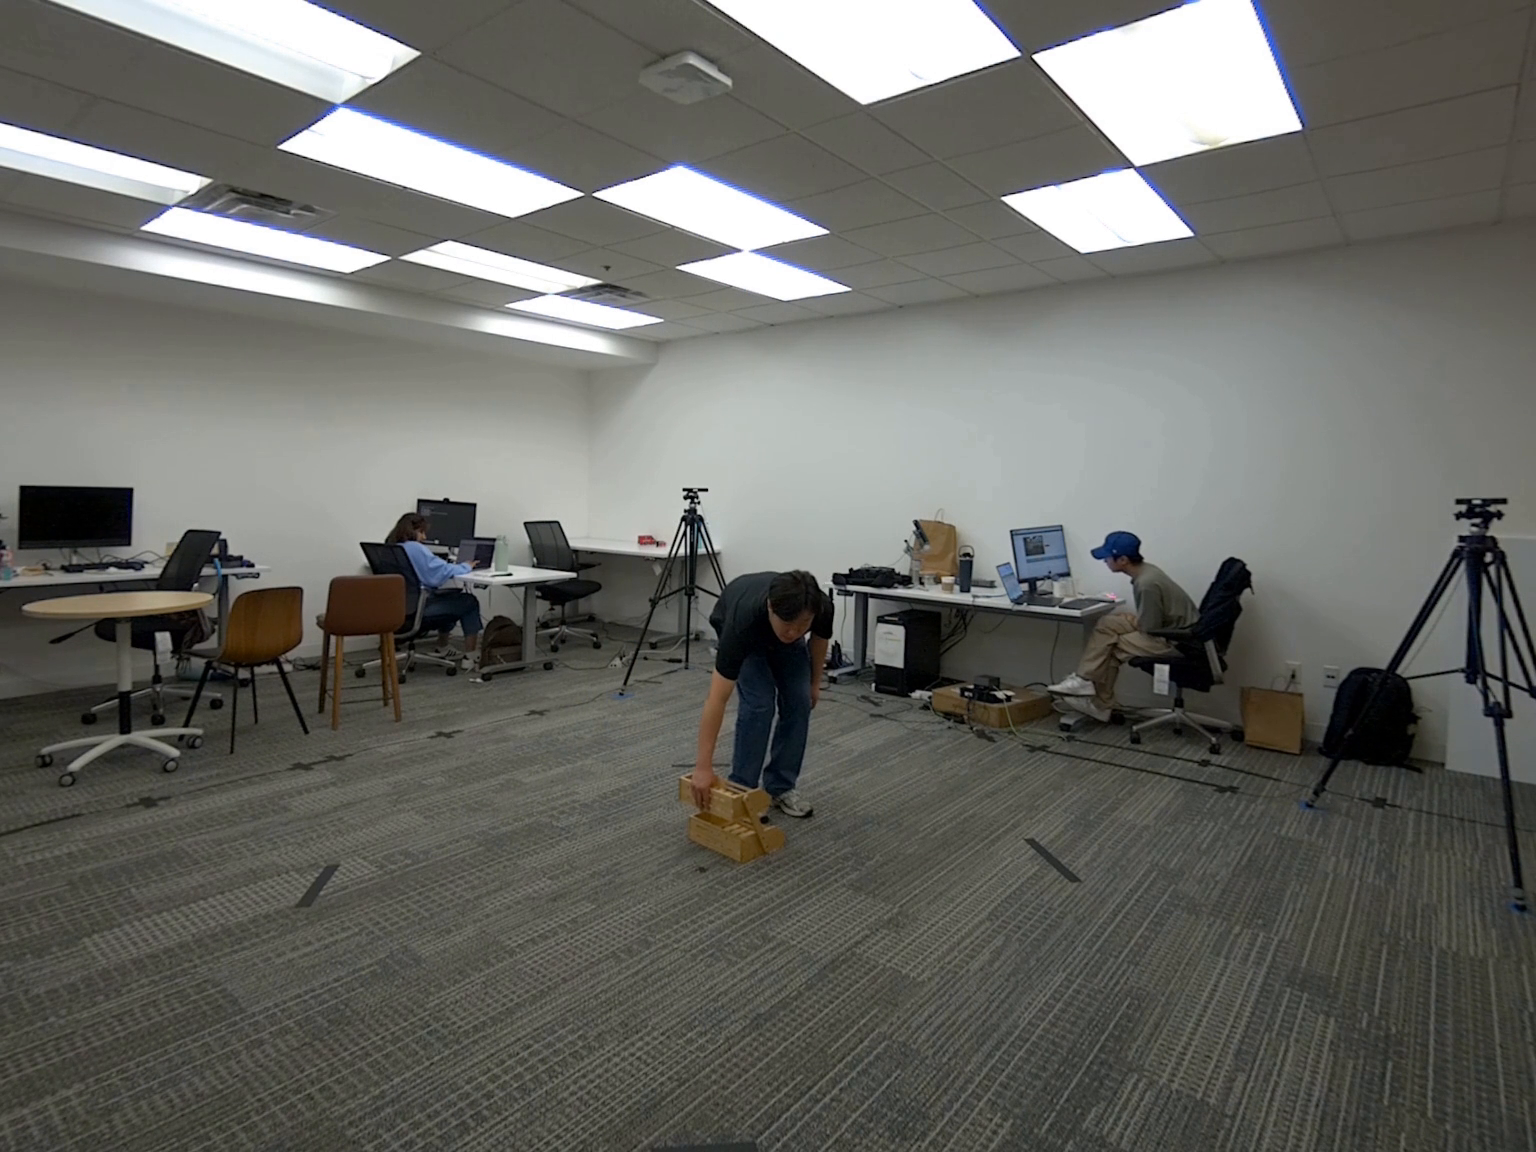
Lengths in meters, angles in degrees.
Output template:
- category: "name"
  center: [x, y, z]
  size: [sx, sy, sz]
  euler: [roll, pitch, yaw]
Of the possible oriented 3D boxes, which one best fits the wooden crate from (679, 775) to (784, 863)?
- category: "wooden crate"
  center: [-0.146, 0.913, 3.337]
  size: [0.336, 0.272, 0.293]
  euler: [6, 6, 44]
